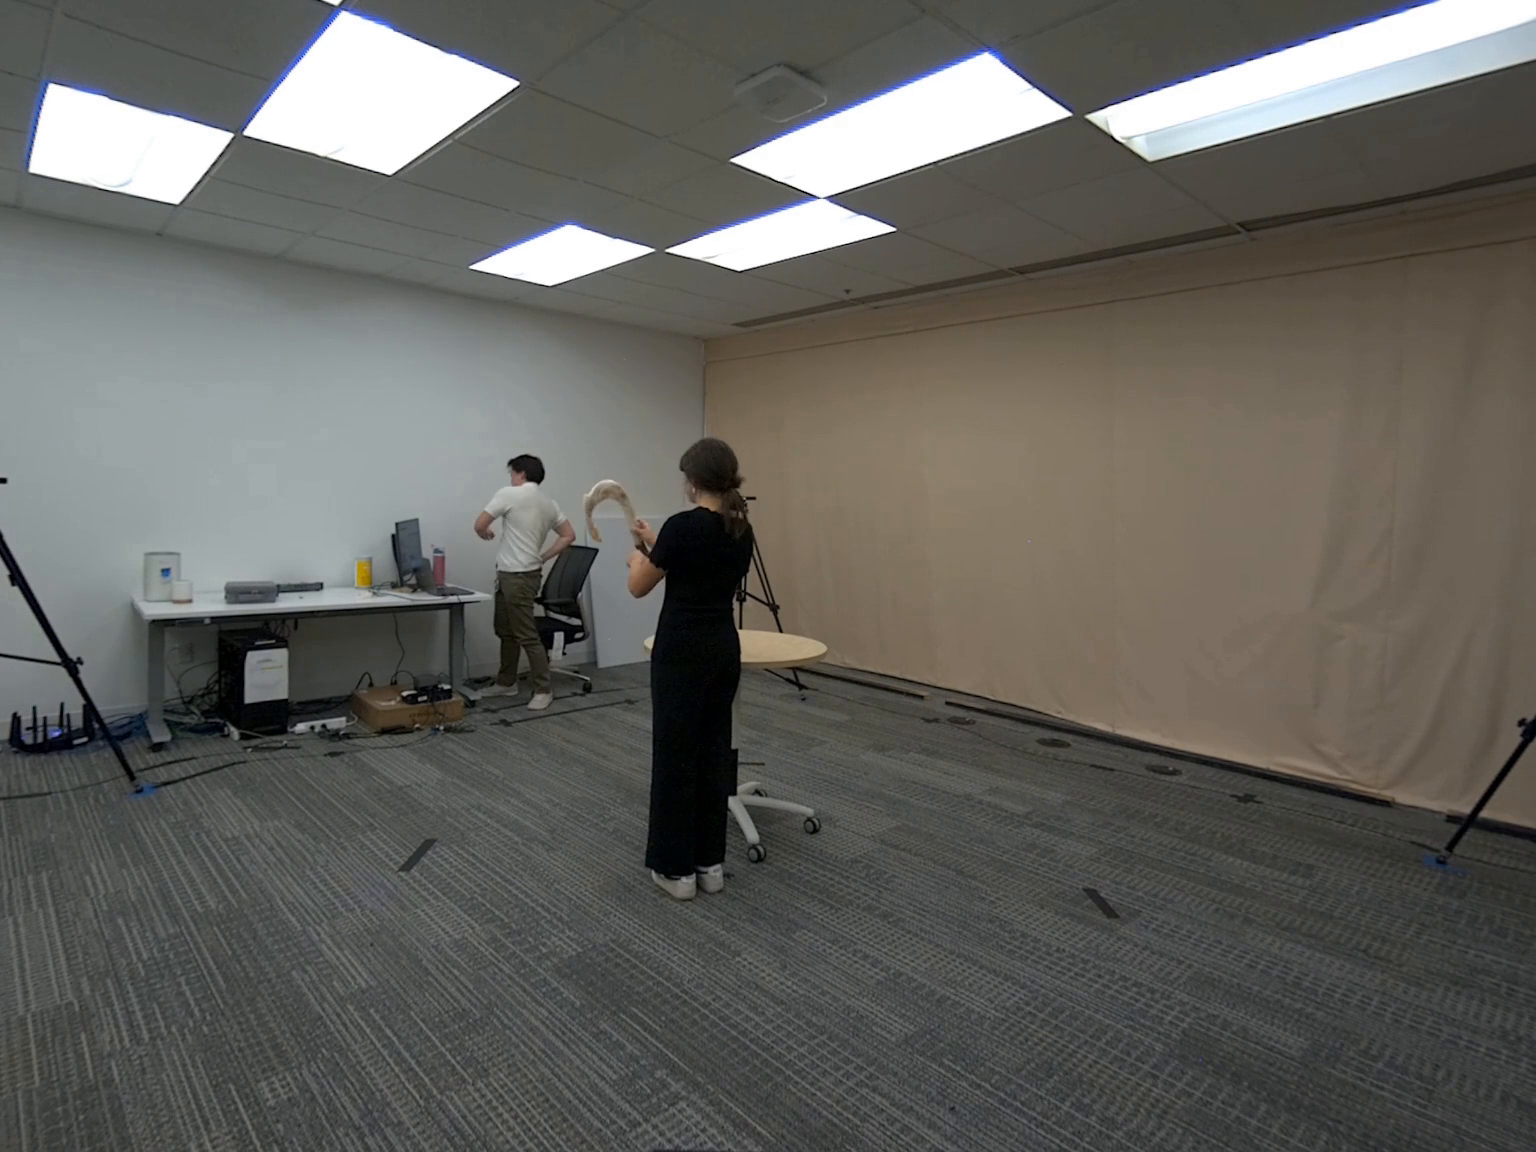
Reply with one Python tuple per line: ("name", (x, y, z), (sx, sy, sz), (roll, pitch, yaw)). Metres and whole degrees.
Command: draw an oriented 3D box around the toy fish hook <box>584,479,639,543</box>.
("toy fish hook", (-0.571, -0.137, 3.315), (0.050, 0.493, 0.224), (15, 50, 47))
